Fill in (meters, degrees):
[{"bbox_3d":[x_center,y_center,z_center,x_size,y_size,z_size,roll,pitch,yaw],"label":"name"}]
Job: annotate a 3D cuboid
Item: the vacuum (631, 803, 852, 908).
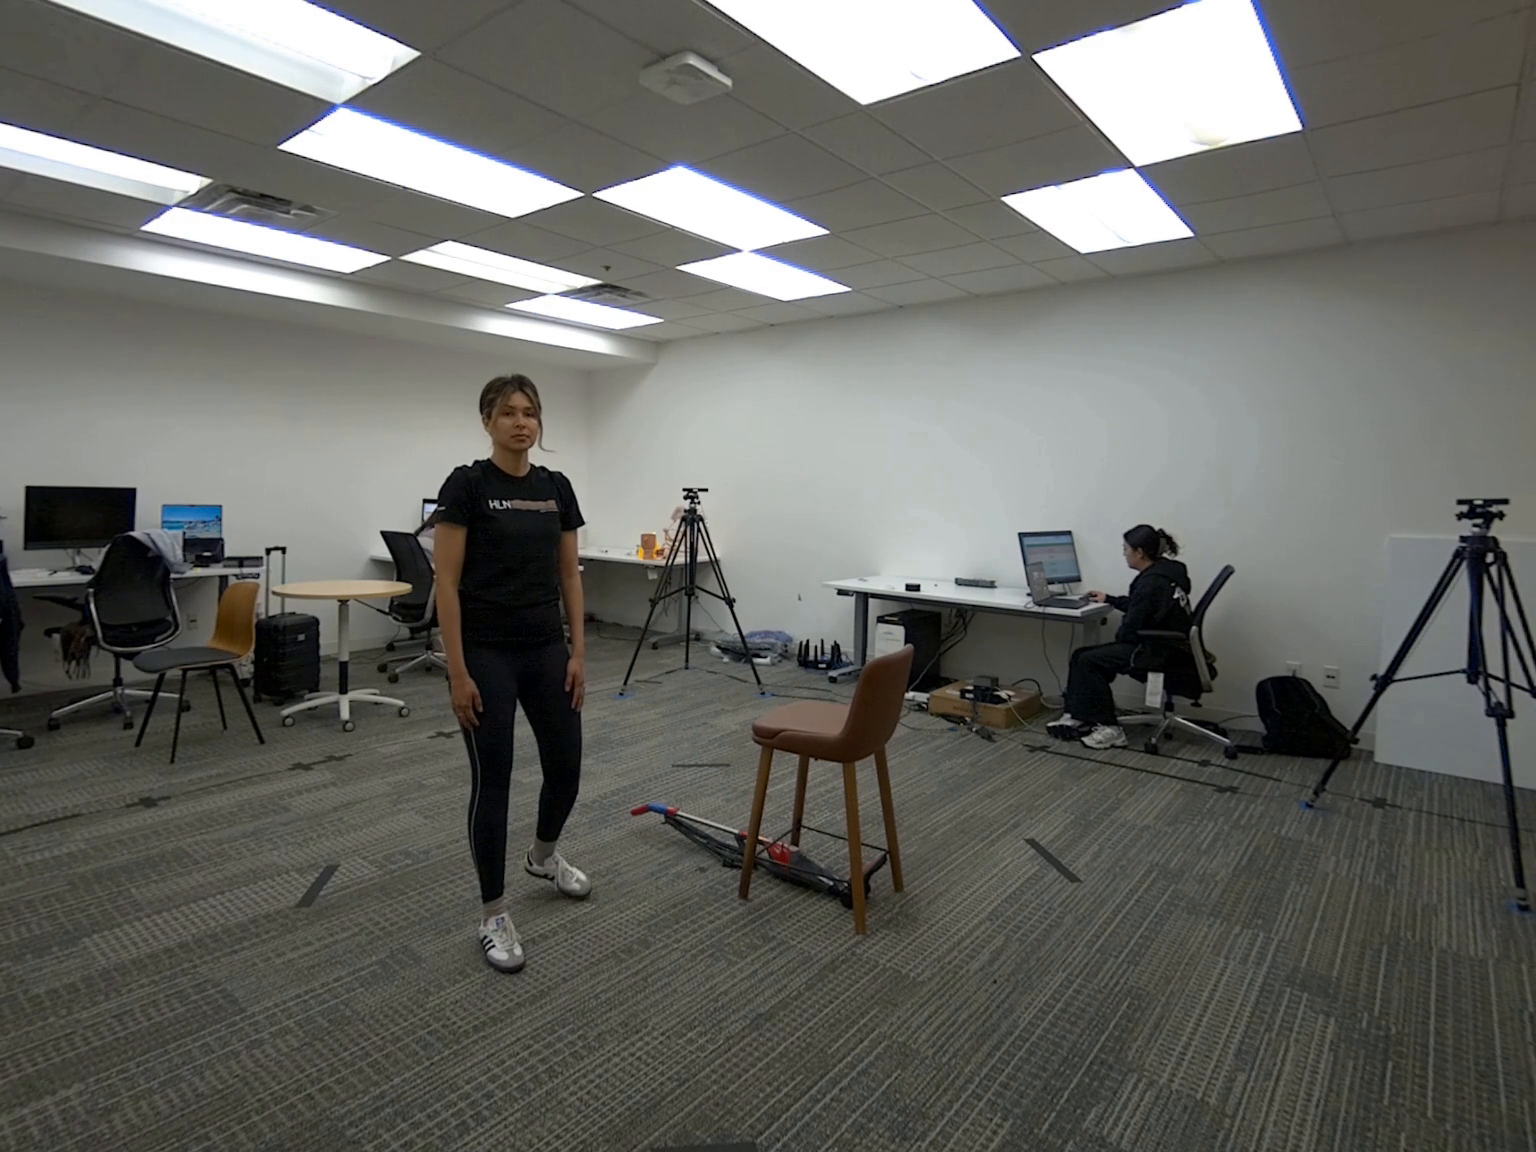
[{"bbox_3d":[-0.125,1.007,3.182,1.083,0.143,0.246,4,6,35],"label":"vacuum"}]
